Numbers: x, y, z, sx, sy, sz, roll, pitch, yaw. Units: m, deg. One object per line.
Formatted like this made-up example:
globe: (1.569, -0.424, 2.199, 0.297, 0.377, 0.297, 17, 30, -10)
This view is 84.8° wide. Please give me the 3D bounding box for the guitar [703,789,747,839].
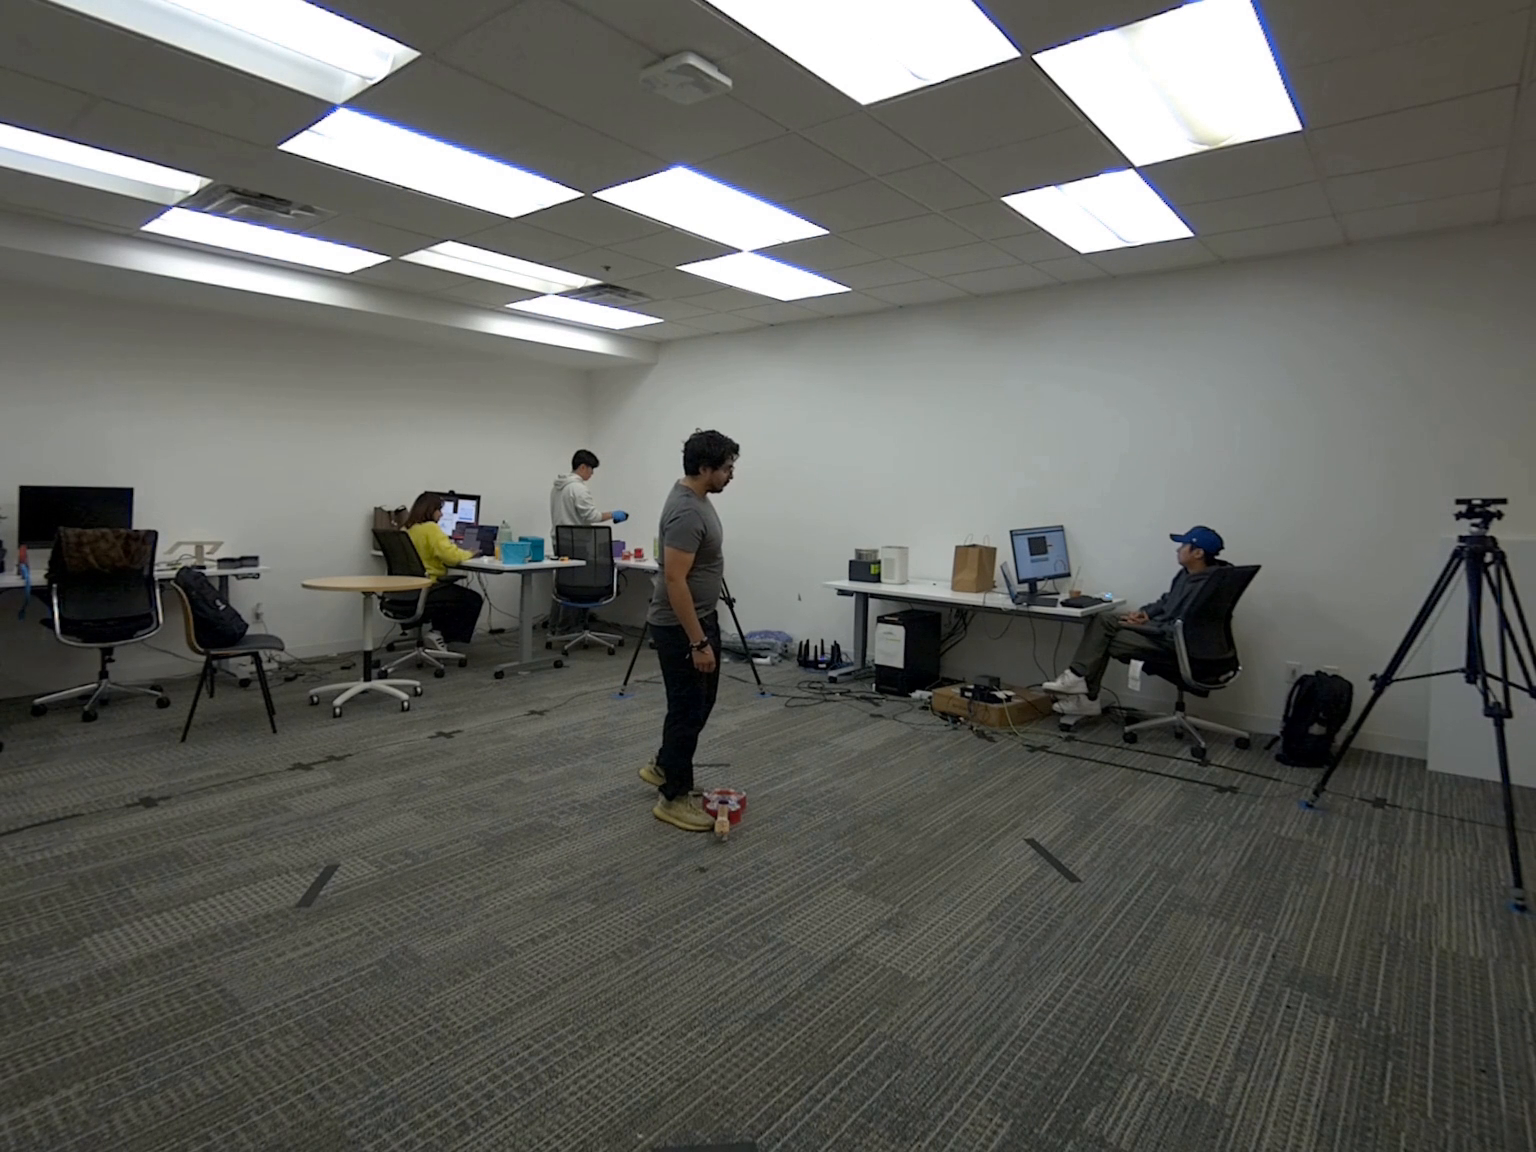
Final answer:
guitar: (-0.226, 0.988, 3.543, 0.195, 0.070, 0.494, 2, 5, 8)
